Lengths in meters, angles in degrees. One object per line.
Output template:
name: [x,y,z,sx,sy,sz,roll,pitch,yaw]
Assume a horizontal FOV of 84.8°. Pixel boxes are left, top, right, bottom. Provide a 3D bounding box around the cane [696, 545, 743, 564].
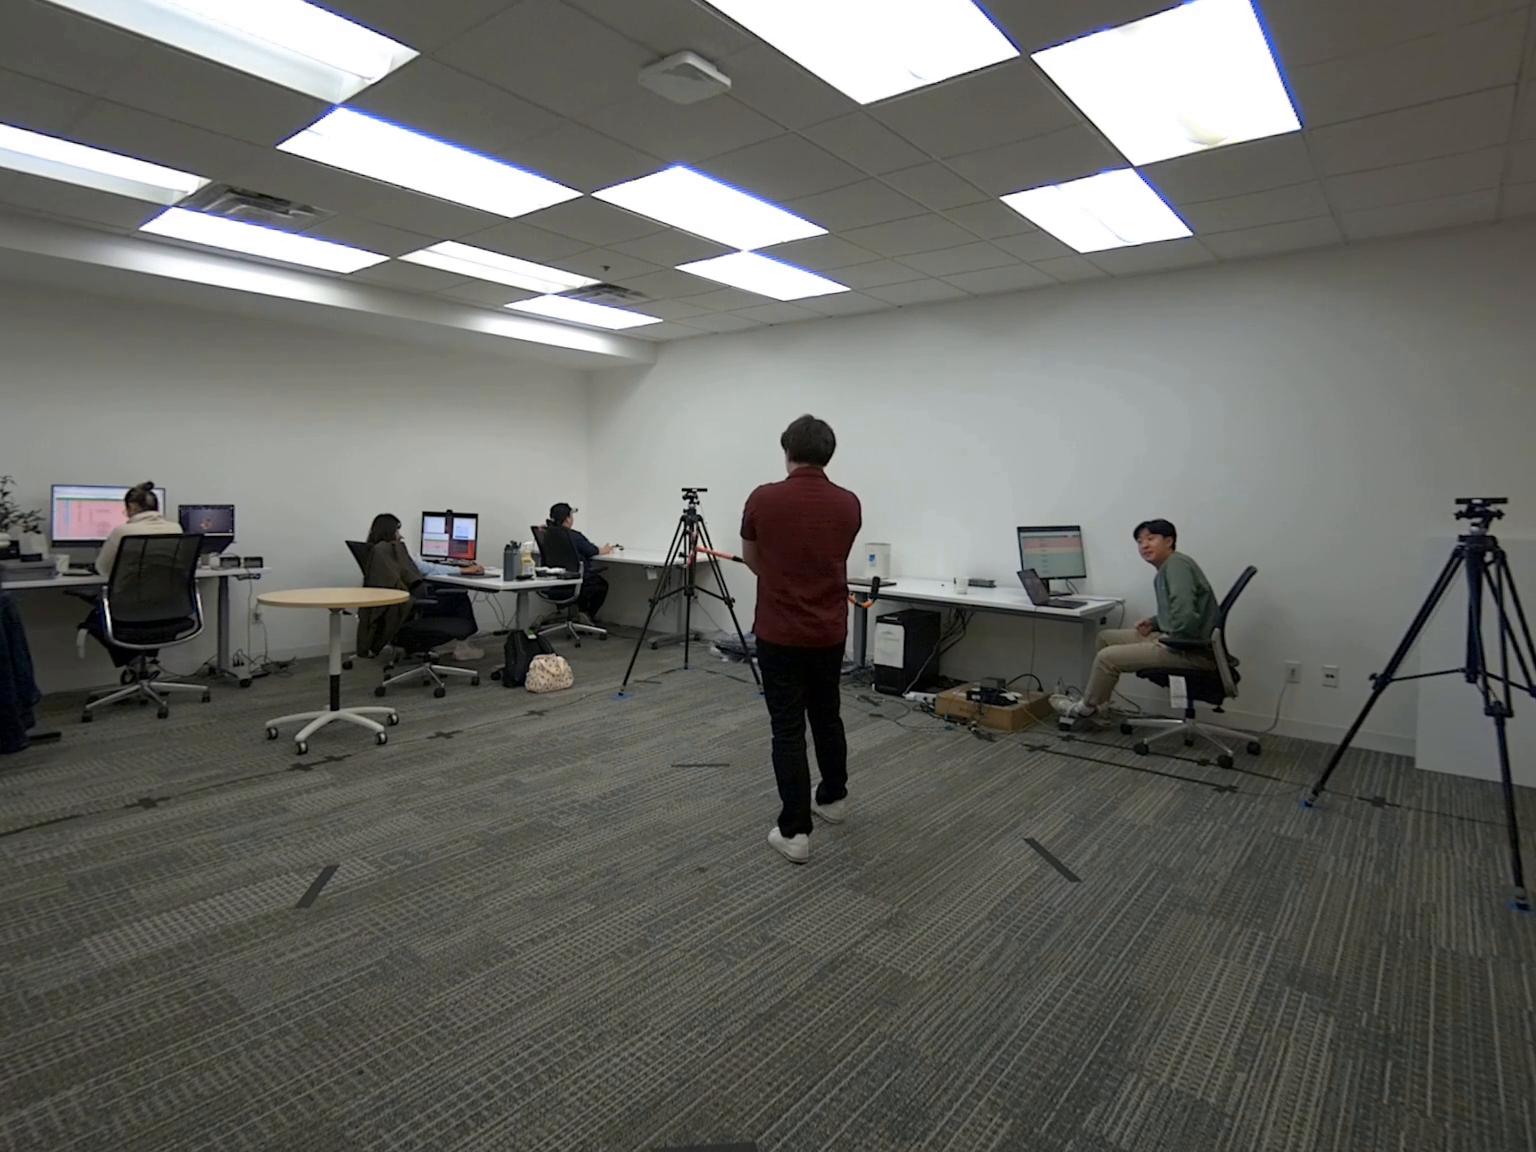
cane: [0.051,-0.031,3.789,0.907,0.209,0.149,15,-23,-1]
